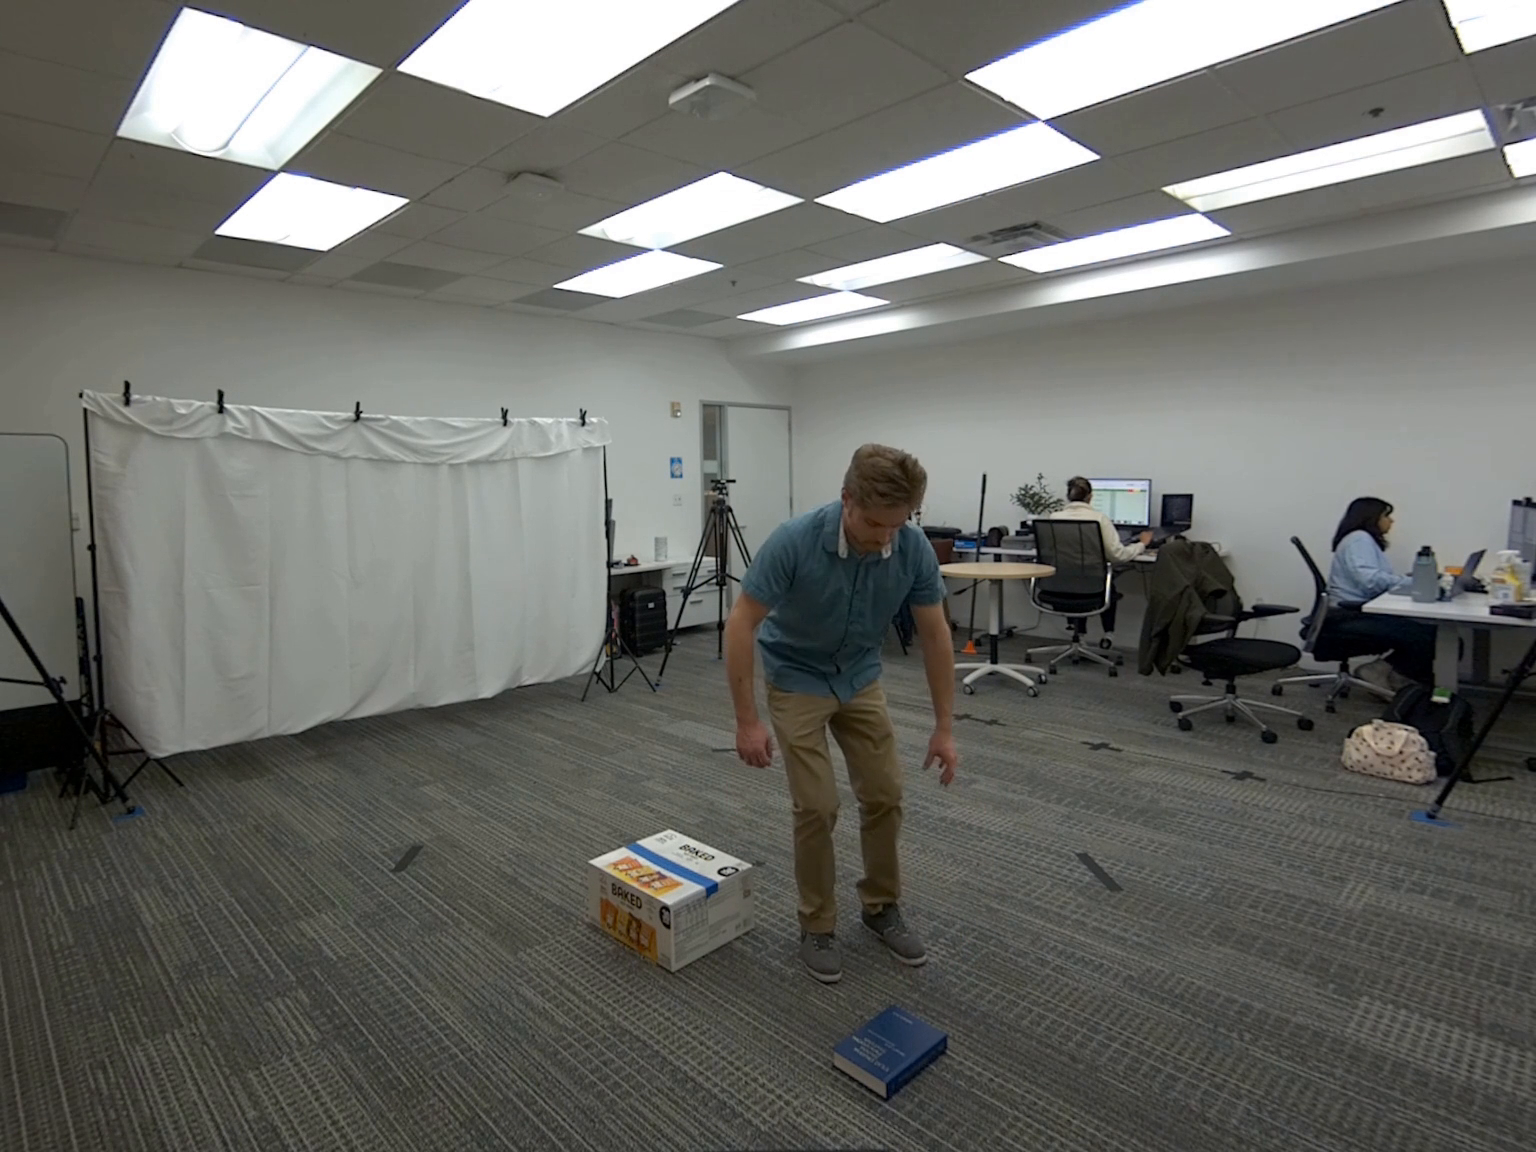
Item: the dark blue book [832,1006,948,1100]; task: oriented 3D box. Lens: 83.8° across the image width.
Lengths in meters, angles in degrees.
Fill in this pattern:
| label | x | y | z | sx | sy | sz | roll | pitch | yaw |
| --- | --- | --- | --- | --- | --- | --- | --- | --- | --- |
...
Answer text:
| label | x | y | z | sx | sy | sz | roll | pitch | yaw |
| --- | --- | --- | --- | --- | --- | --- | --- | --- | --- |
| dark blue book | 0.301 | 1.147 | 2.054 | 0.239 | 0.045 | 0.168 | -9 | 10 | -44 |
